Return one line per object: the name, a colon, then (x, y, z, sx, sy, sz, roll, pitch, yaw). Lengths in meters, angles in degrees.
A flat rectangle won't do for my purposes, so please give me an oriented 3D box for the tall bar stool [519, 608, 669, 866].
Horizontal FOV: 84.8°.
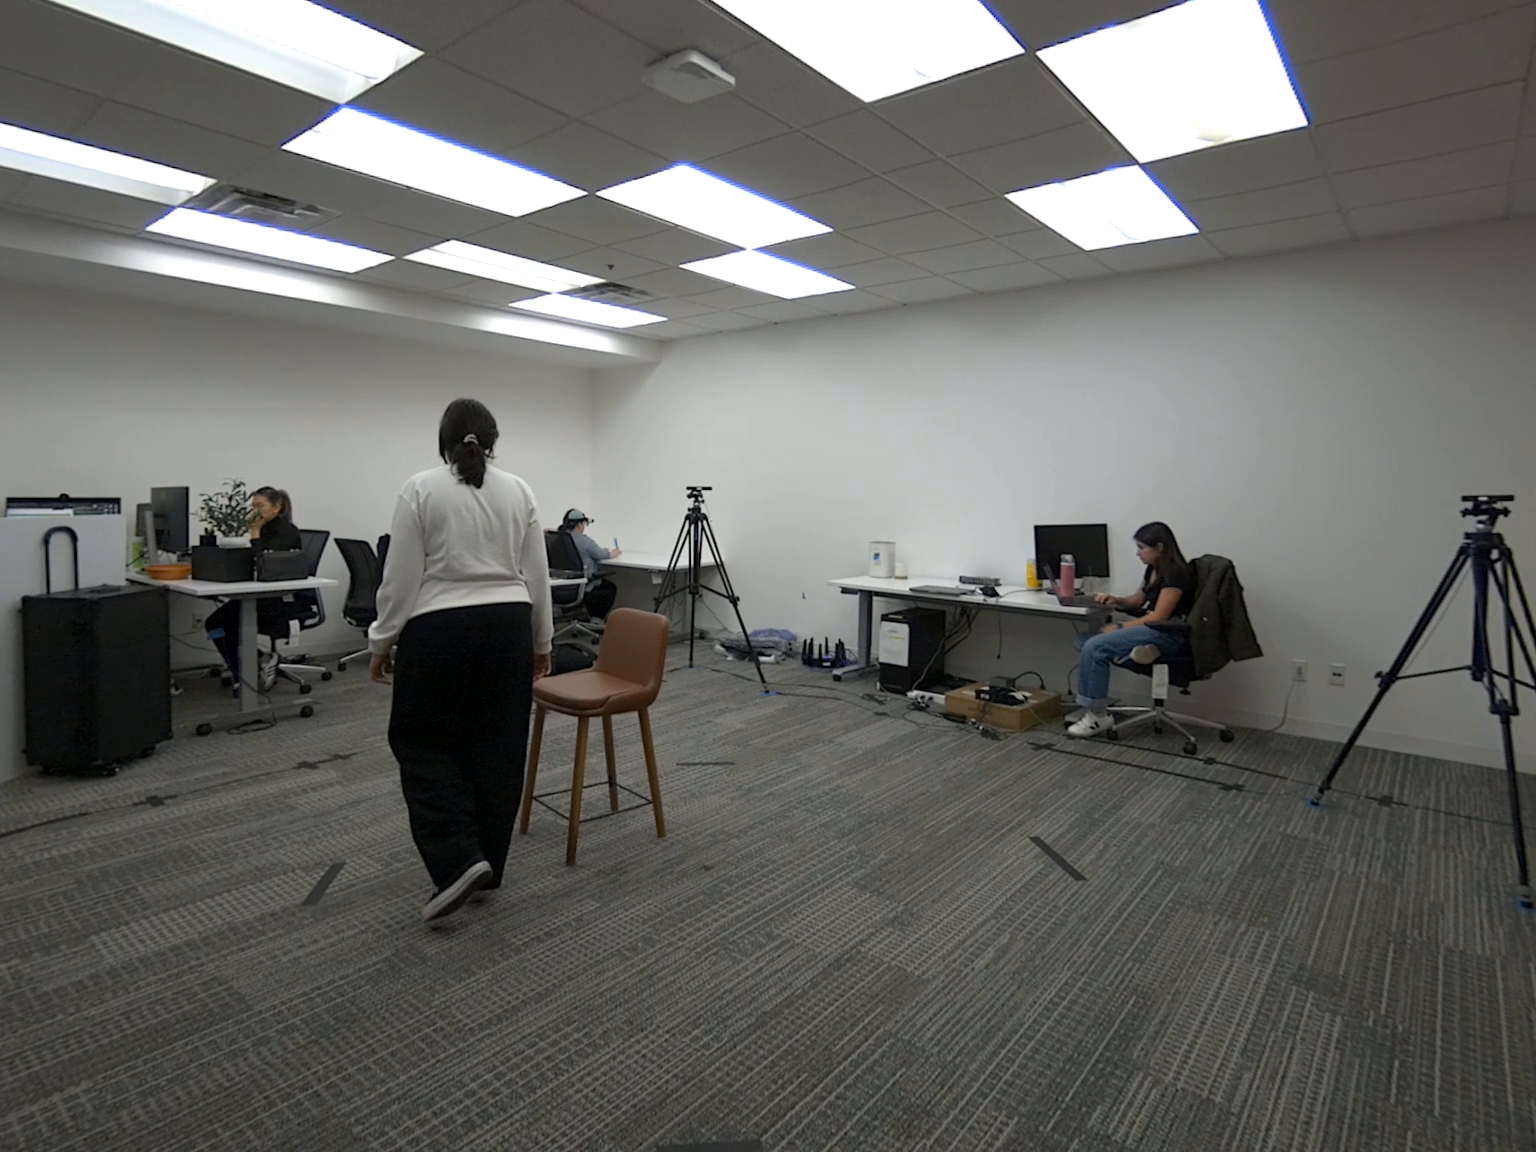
tall bar stool: (-0.688, 0.597, 3.376, 0.453, 0.888, 0.472, 1, 3, -41)
